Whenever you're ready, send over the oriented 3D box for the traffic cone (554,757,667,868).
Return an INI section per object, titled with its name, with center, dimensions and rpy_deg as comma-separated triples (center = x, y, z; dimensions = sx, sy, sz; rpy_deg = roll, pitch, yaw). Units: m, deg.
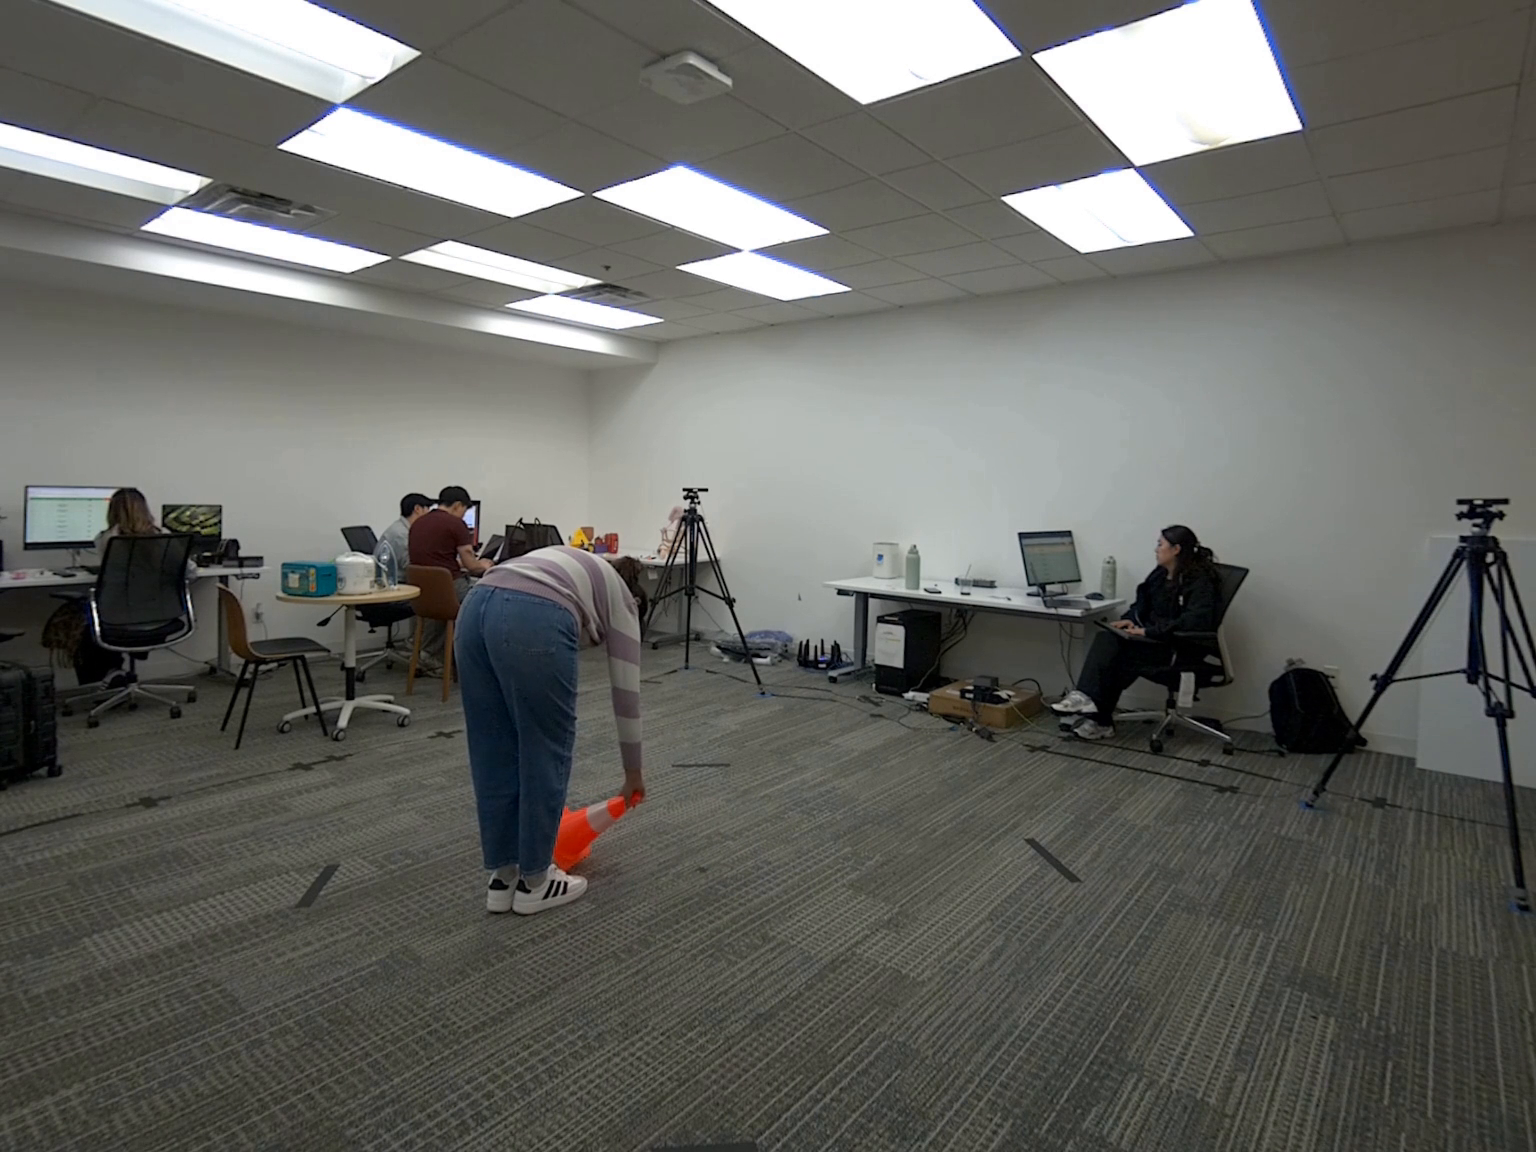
[traffic cone]
center = -0.614, 0.867, 3.100
dimensions = 0.386, 0.210, 0.197
rpy_deg = -35, -18, 20
